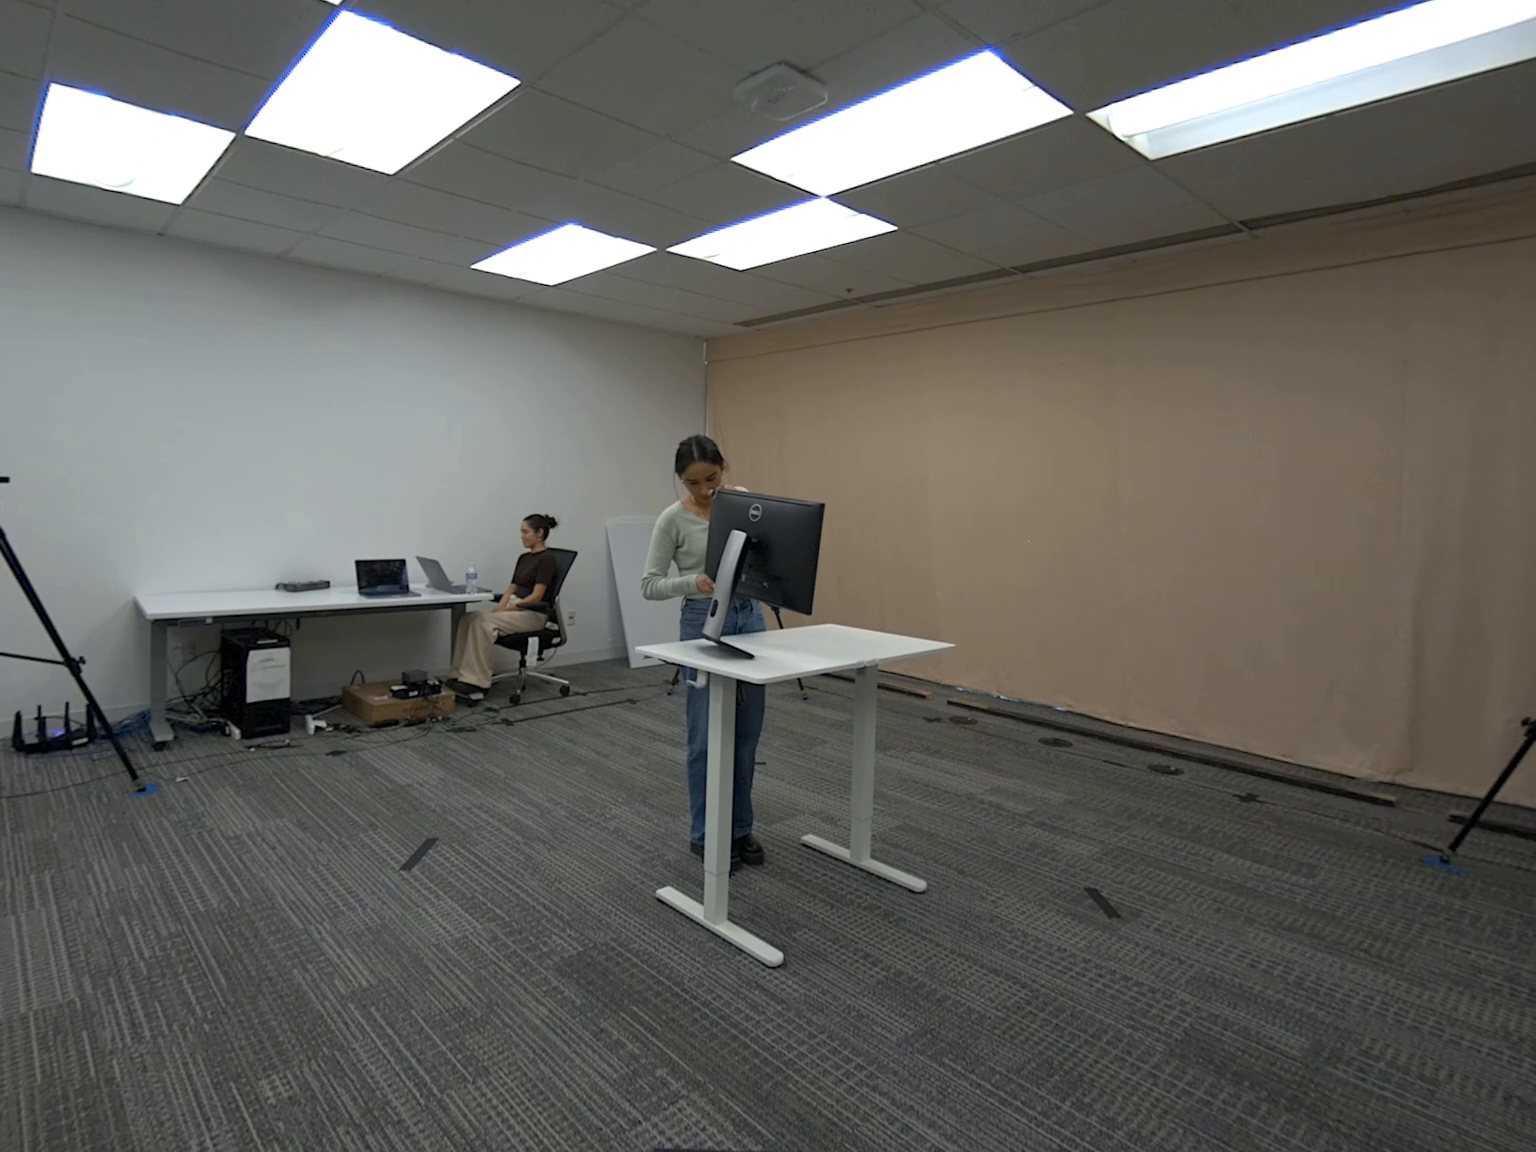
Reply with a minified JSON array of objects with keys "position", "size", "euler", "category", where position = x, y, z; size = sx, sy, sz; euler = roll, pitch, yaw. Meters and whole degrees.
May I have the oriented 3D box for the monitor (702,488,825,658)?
[{"position":[-0.089,-0.016,2.764],"size":[0.181,0.524,0.554],"euler":[21,-6,-42],"category":"monitor"}]
